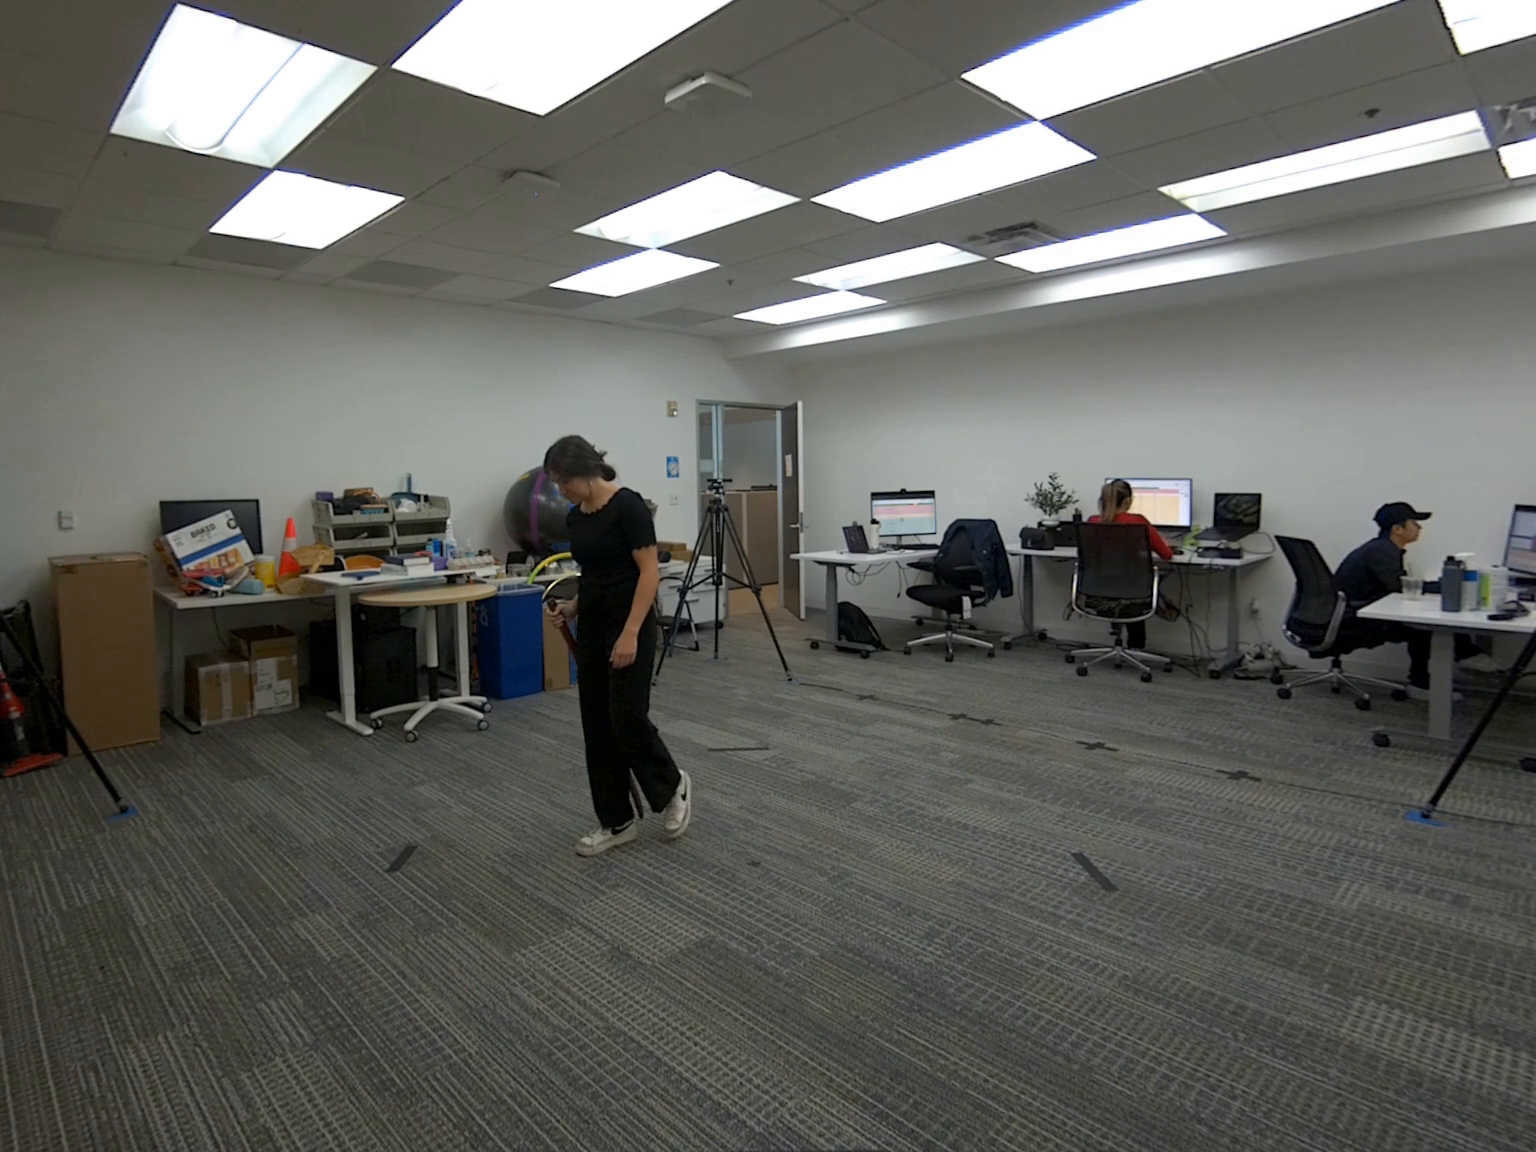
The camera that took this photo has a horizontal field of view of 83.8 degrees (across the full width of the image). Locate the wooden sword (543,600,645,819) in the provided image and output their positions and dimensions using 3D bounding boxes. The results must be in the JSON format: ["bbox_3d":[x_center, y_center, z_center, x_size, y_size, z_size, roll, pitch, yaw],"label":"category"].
[{"bbox_3d":[-0.665,0.549,3.405,0.025,1.005,0.051,-4,23,42],"label":"wooden sword"}]
